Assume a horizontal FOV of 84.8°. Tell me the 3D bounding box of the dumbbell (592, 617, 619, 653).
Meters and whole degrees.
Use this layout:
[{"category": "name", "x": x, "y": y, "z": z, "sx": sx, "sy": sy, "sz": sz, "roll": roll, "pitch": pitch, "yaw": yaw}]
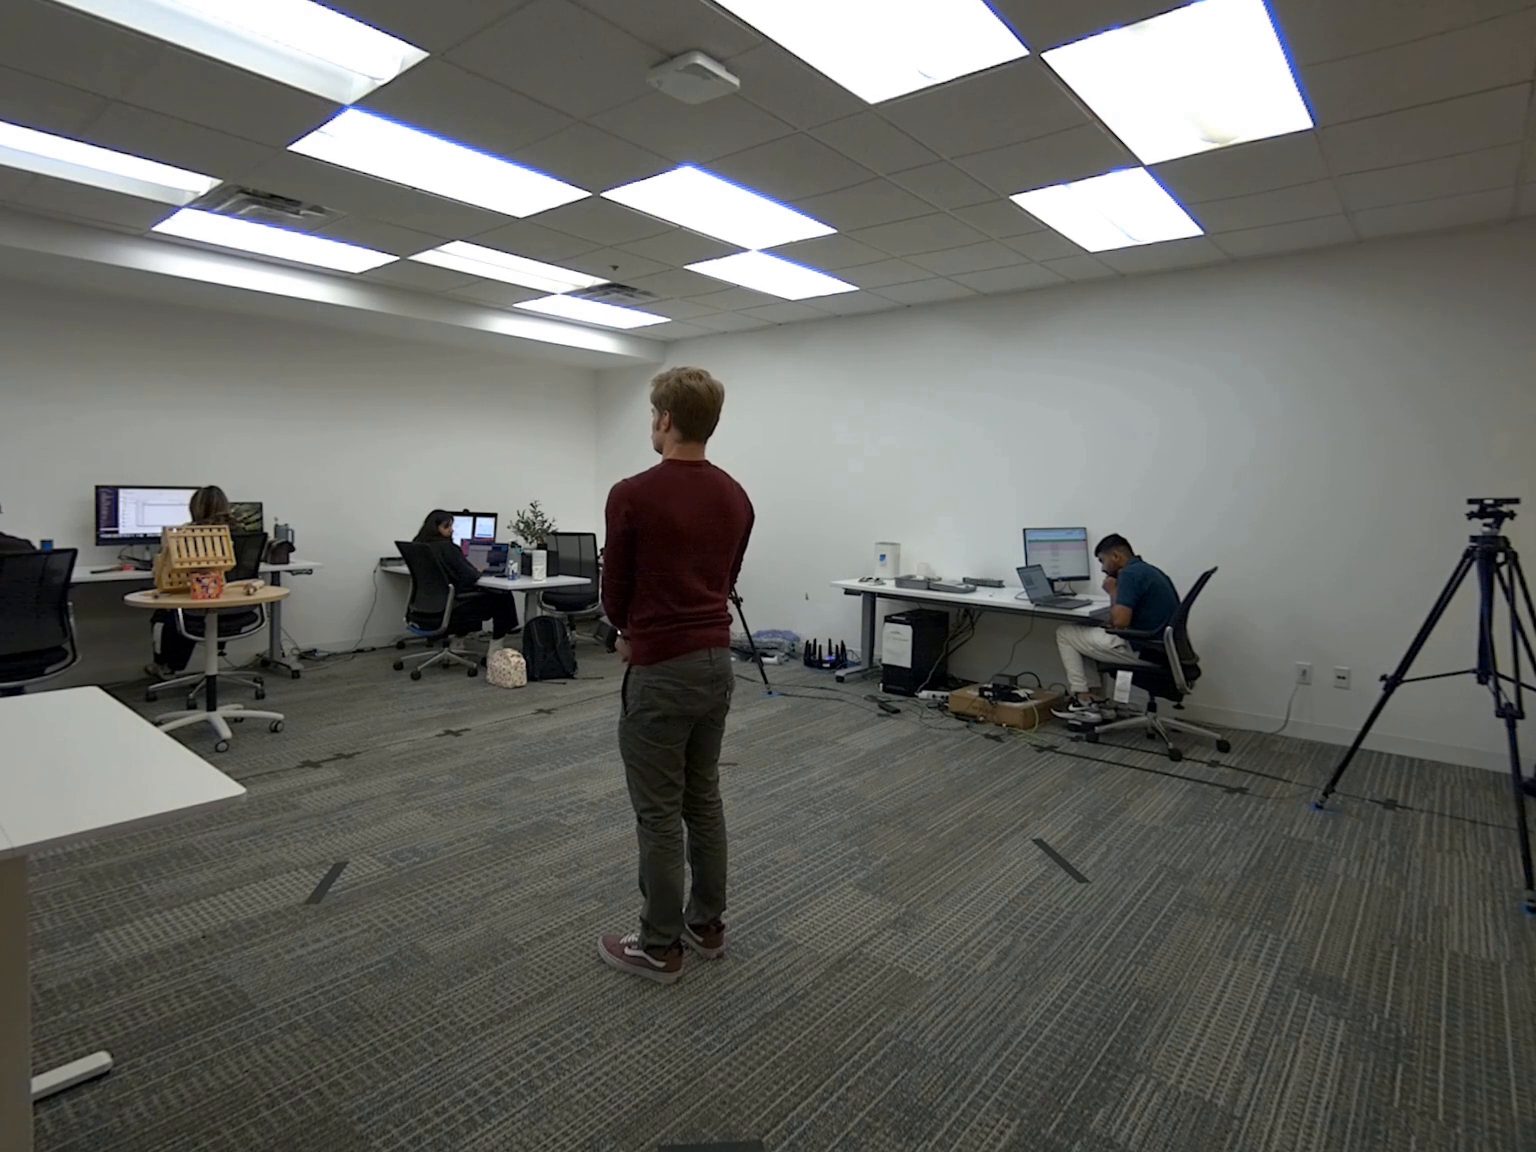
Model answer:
[{"category": "dumbbell", "x": -0.448, "y": 0.225, "z": 2.704, "sx": 0.305, "sy": 0.123, "sz": 0.105, "roll": 24, "pitch": 6, "yaw": 37}]
